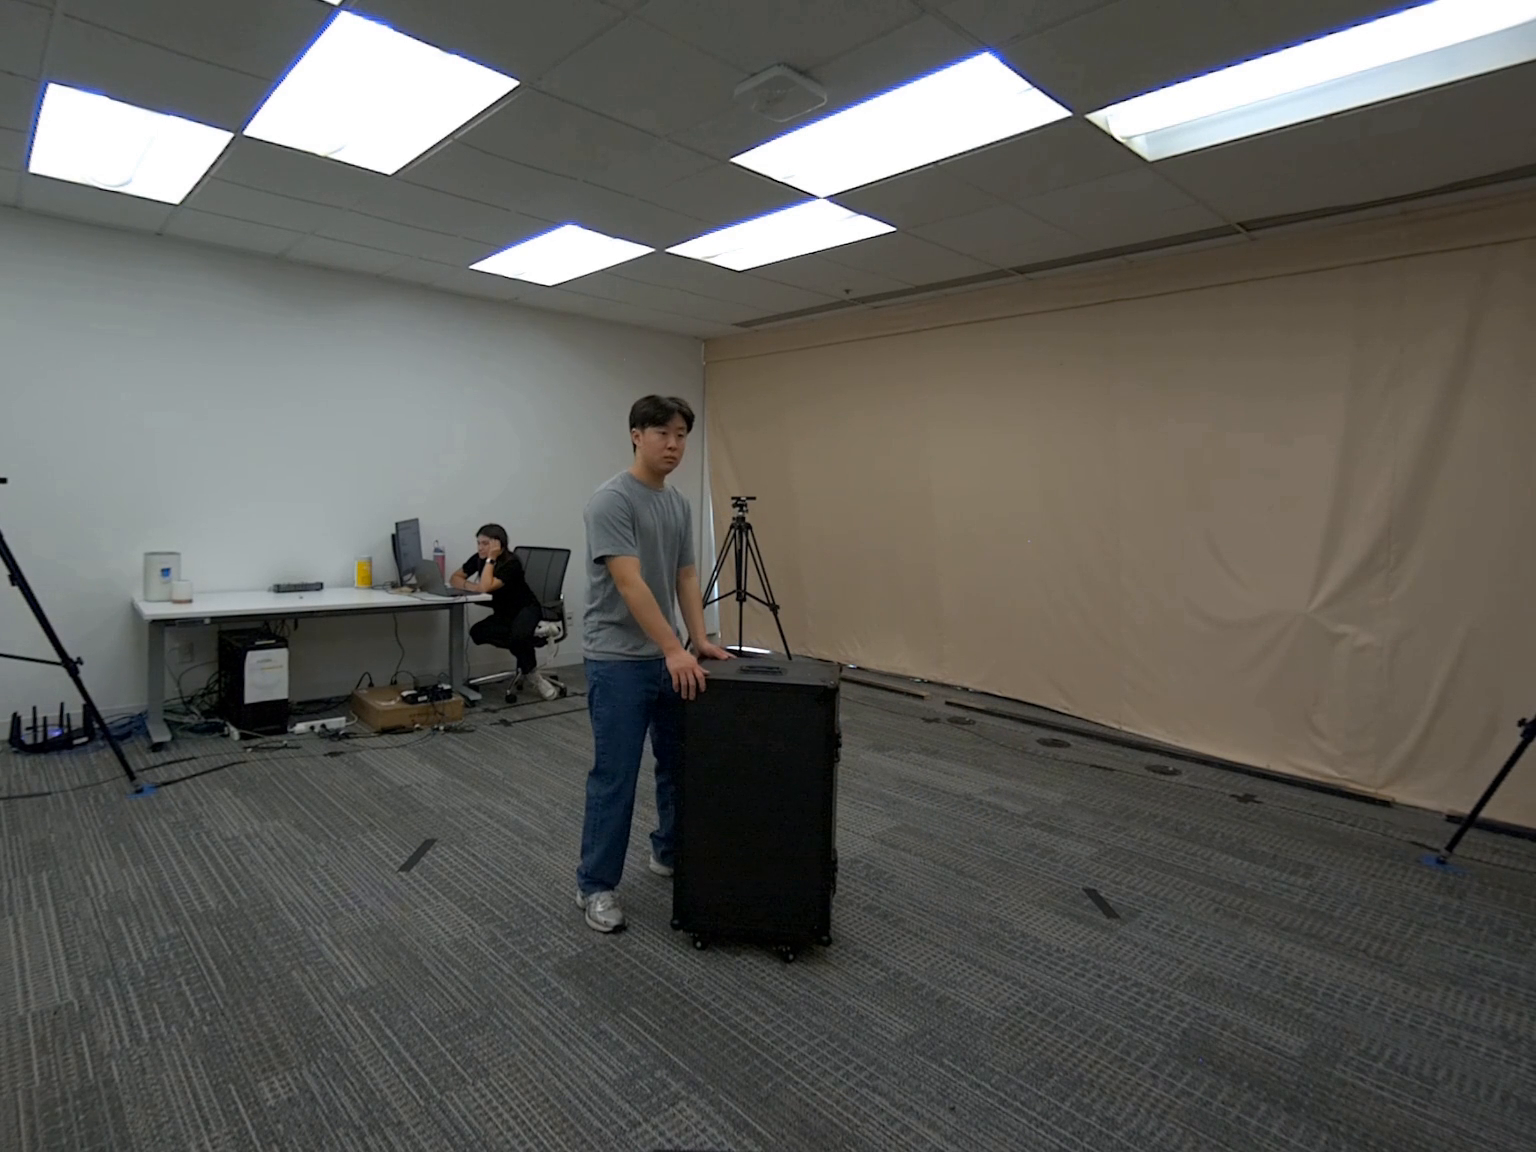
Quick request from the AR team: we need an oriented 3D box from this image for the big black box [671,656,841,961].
[{"bbox_3d":[-0.035,0.727,2.687,0.525,0.860,0.394,1,3,9],"label":"big black box"}]
